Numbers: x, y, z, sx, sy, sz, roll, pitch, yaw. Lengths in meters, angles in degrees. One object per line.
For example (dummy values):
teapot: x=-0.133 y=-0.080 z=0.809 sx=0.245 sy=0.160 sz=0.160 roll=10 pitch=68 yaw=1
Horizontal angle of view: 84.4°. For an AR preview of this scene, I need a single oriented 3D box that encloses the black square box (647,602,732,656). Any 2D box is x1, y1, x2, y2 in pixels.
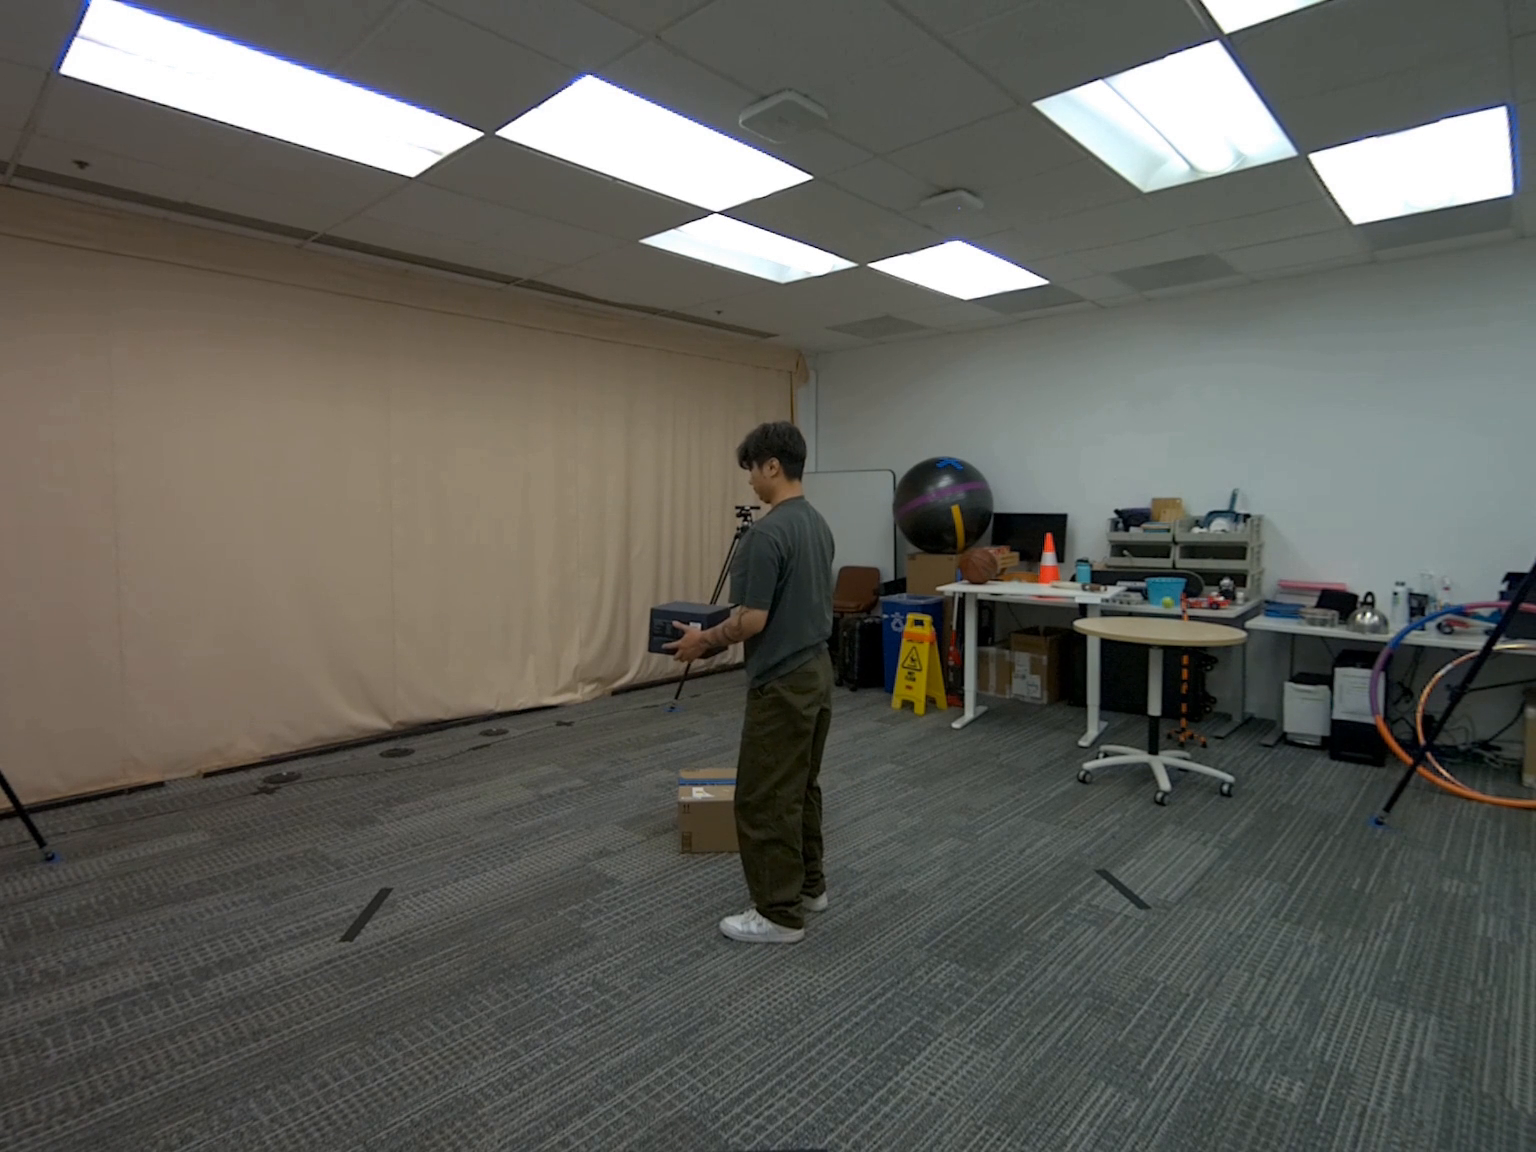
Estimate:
black square box: x=-0.269 y=0.185 z=2.940 sx=0.222 sy=0.155 sz=0.224 roll=5 pitch=6 yaw=19
